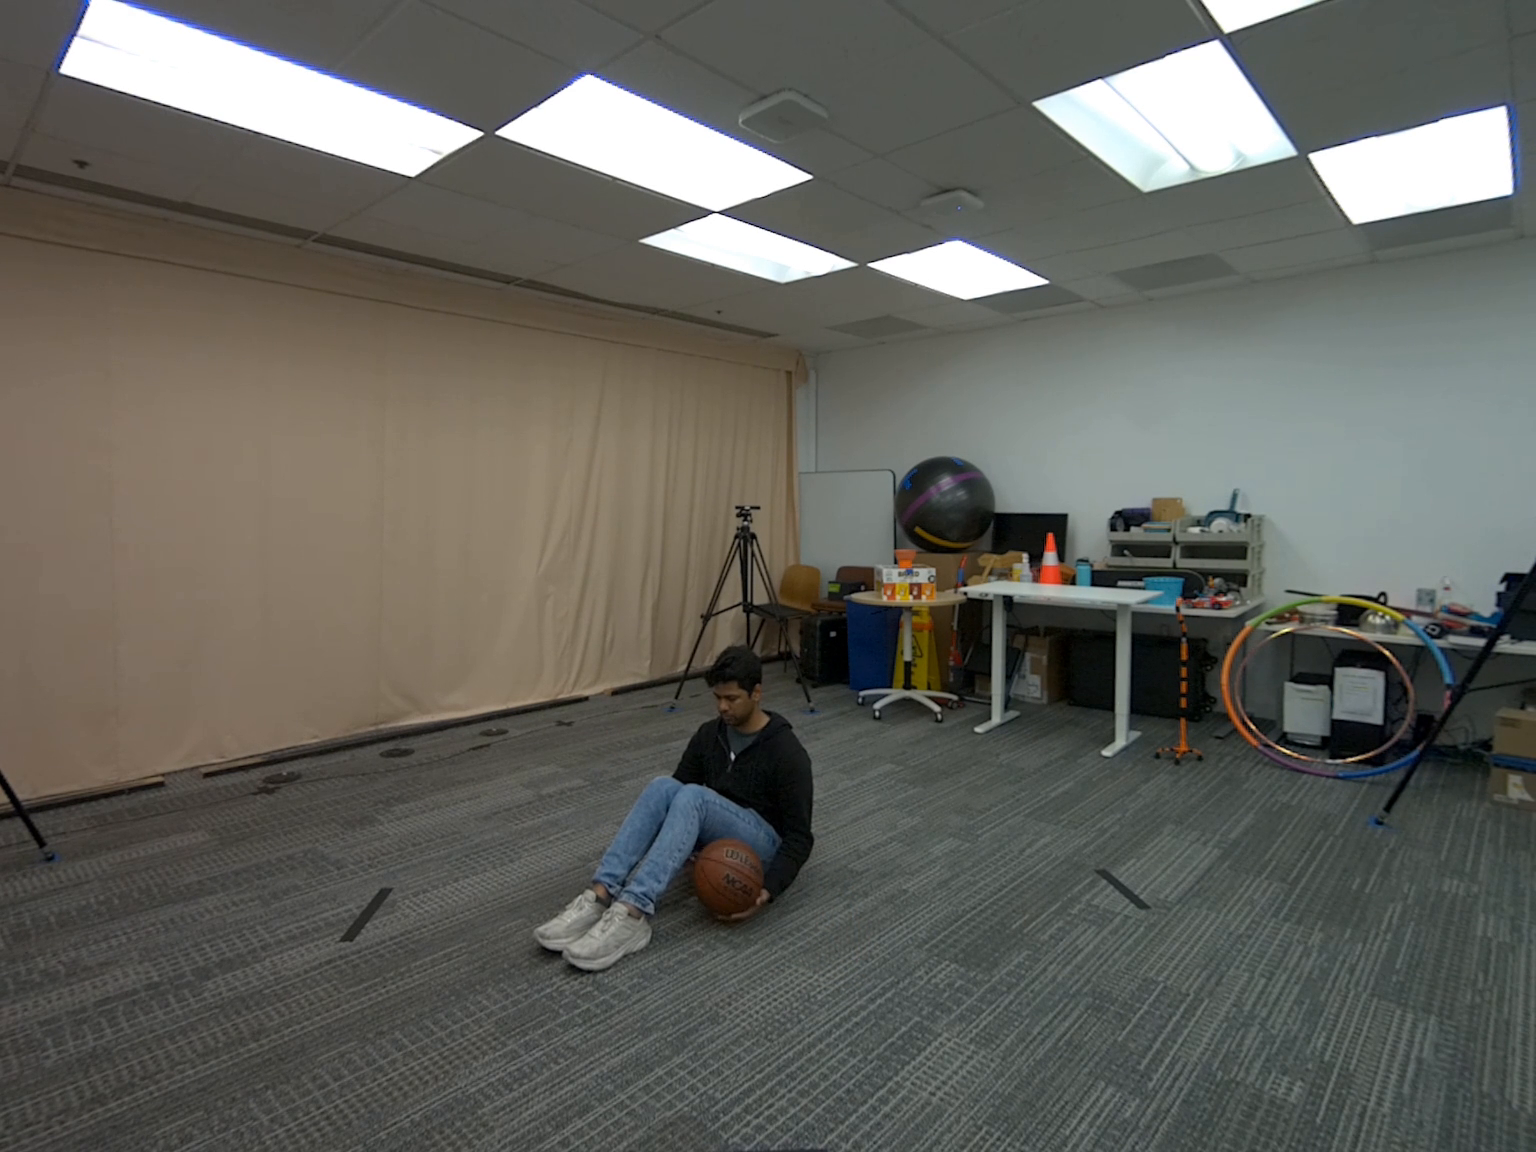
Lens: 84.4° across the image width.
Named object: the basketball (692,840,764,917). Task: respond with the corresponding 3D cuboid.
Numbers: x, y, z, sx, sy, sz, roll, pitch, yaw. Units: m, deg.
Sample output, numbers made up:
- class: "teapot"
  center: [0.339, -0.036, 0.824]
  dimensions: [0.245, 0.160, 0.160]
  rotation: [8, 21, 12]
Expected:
- class: "basketball"
  center: [-0.141, 0.993, 2.801]
  dimensions: [0.236, 0.235, 0.237]
  rotation: [0, 4, -2]
